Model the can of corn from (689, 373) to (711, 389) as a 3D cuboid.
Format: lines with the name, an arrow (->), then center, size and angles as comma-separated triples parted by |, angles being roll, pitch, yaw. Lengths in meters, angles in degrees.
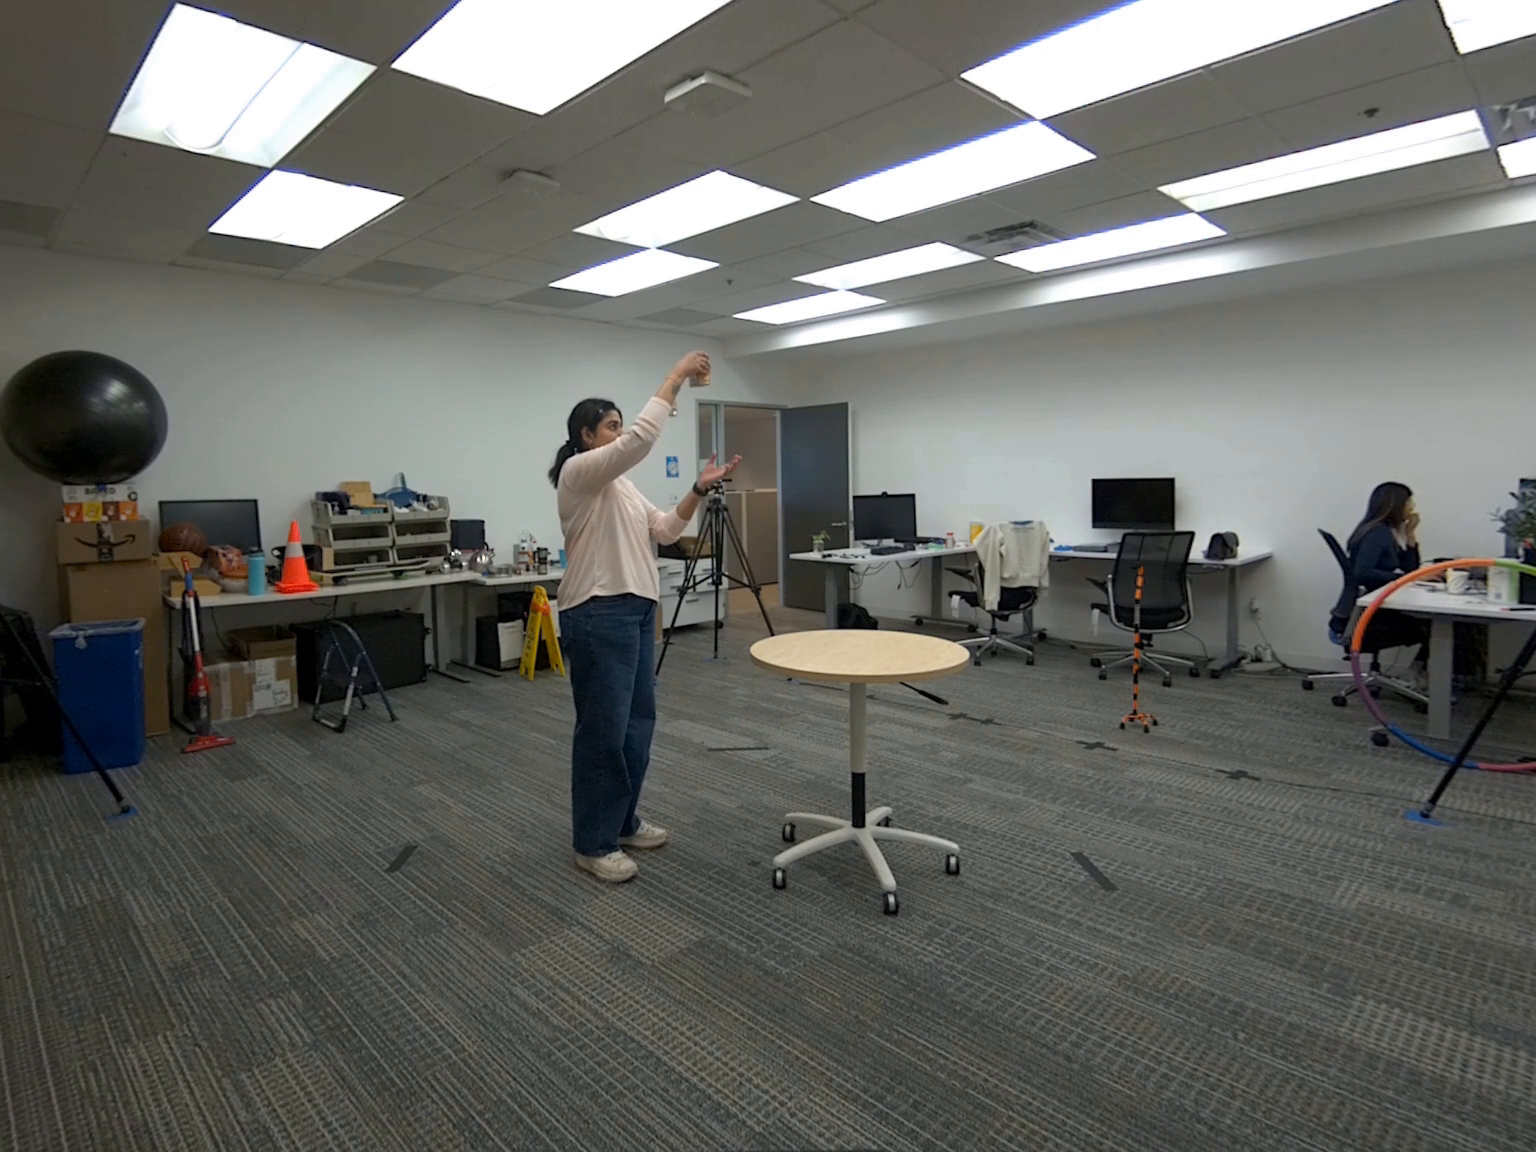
can of corn -> -0.239, -0.729, 3.025 | 0.074, 0.110, 0.074 | -5, 5, -1
